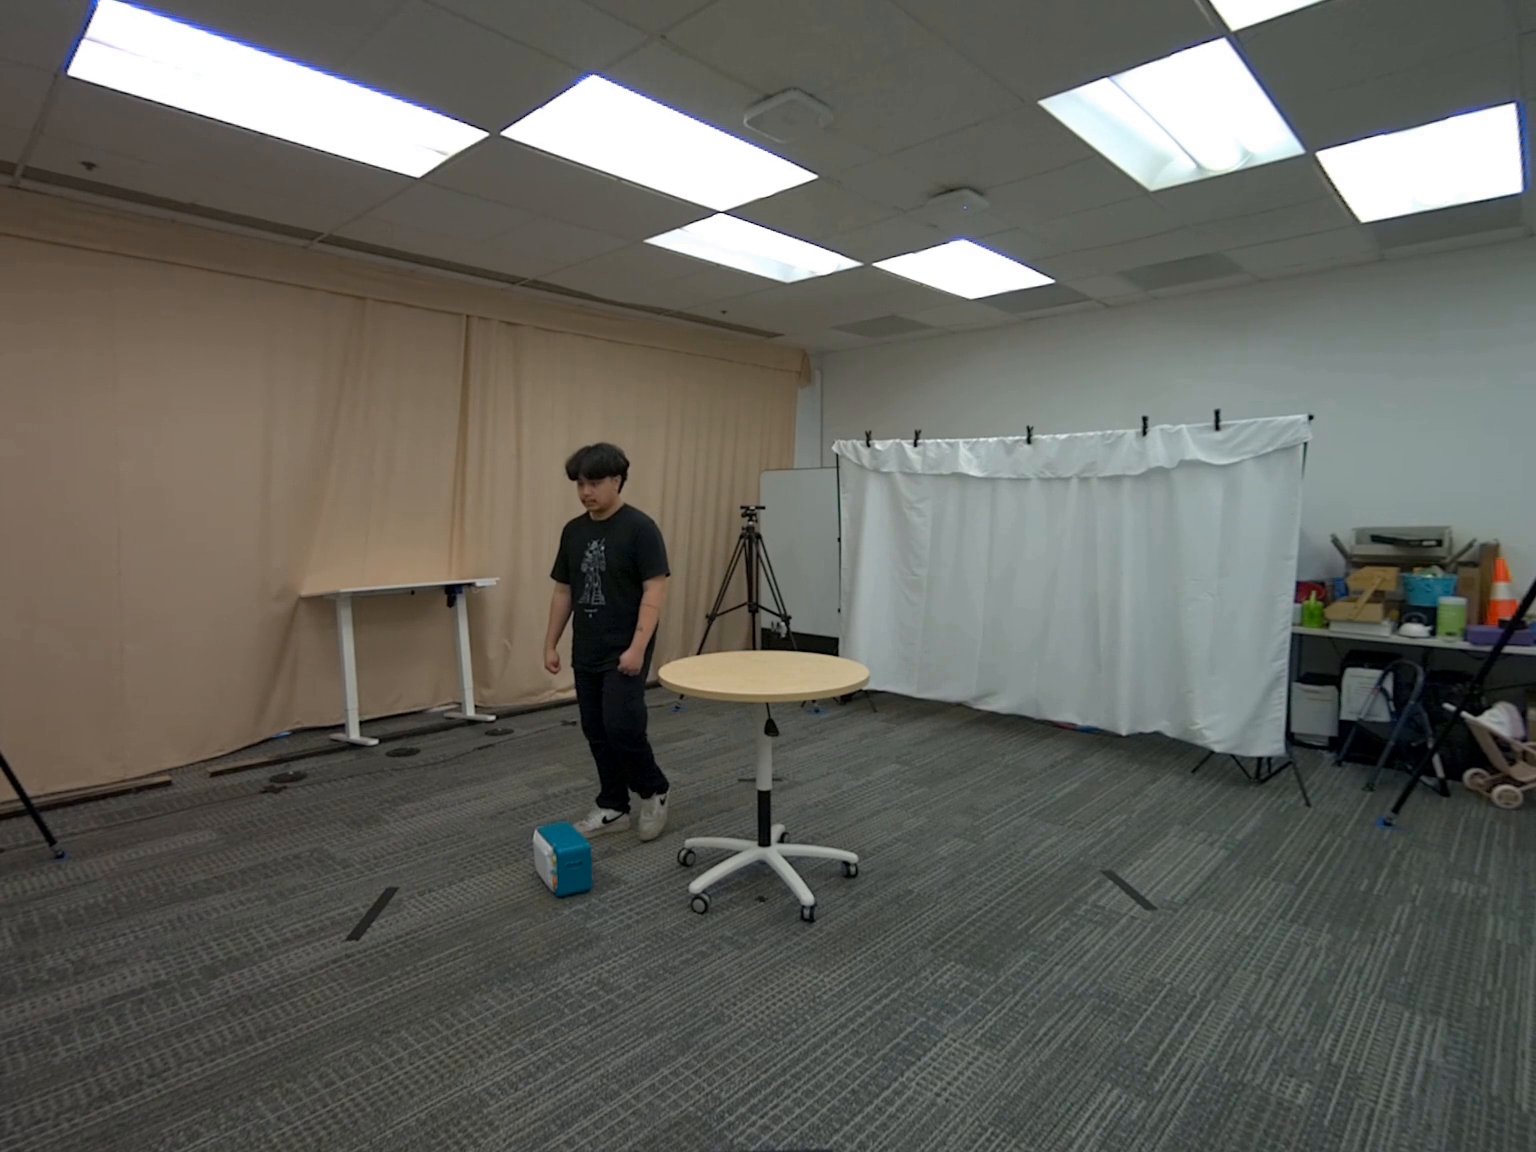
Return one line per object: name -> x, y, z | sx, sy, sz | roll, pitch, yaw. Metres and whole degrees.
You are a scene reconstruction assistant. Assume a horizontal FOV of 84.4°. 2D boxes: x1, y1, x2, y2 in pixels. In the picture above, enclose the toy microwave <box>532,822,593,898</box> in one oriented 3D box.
toy microwave -> -0.767, 1.044, 3.126 | 0.148, 0.184, 0.294 | -3, 5, -30
